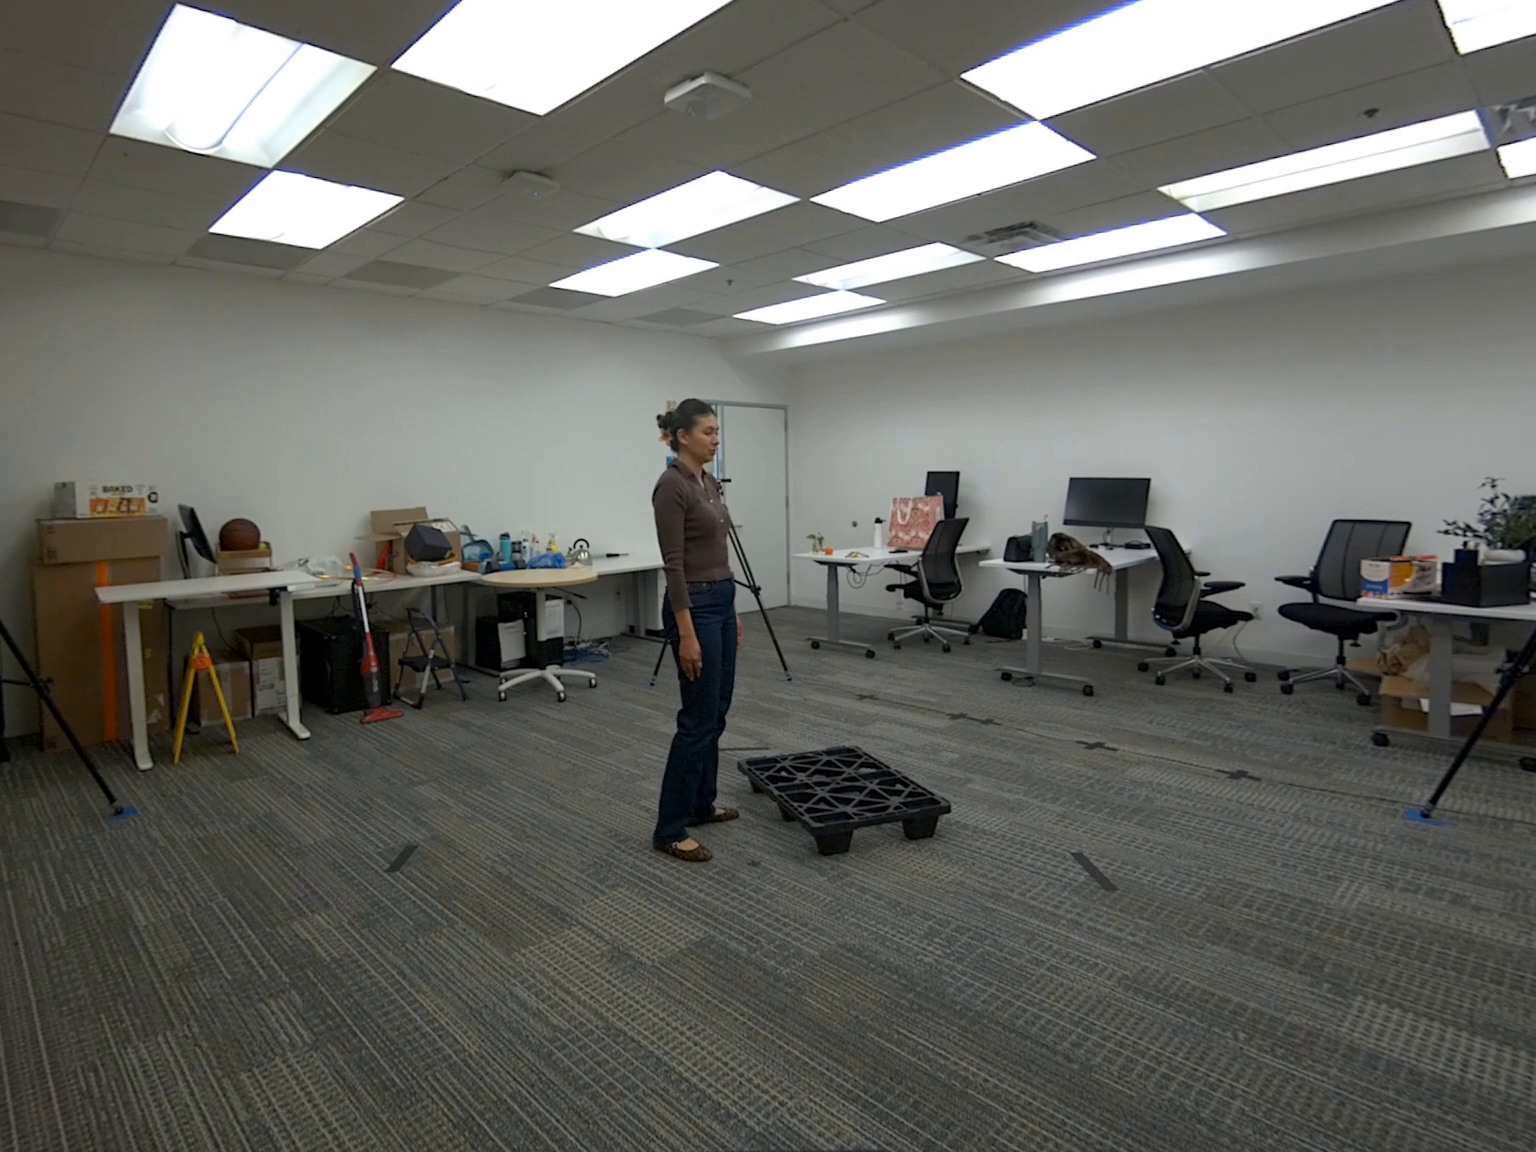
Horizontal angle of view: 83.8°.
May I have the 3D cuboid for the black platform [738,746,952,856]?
[{"bbox_3d":[0.288,0.918,3.574,0.594,0.143,0.824,-2,6,-21],"label":"black platform"}]
